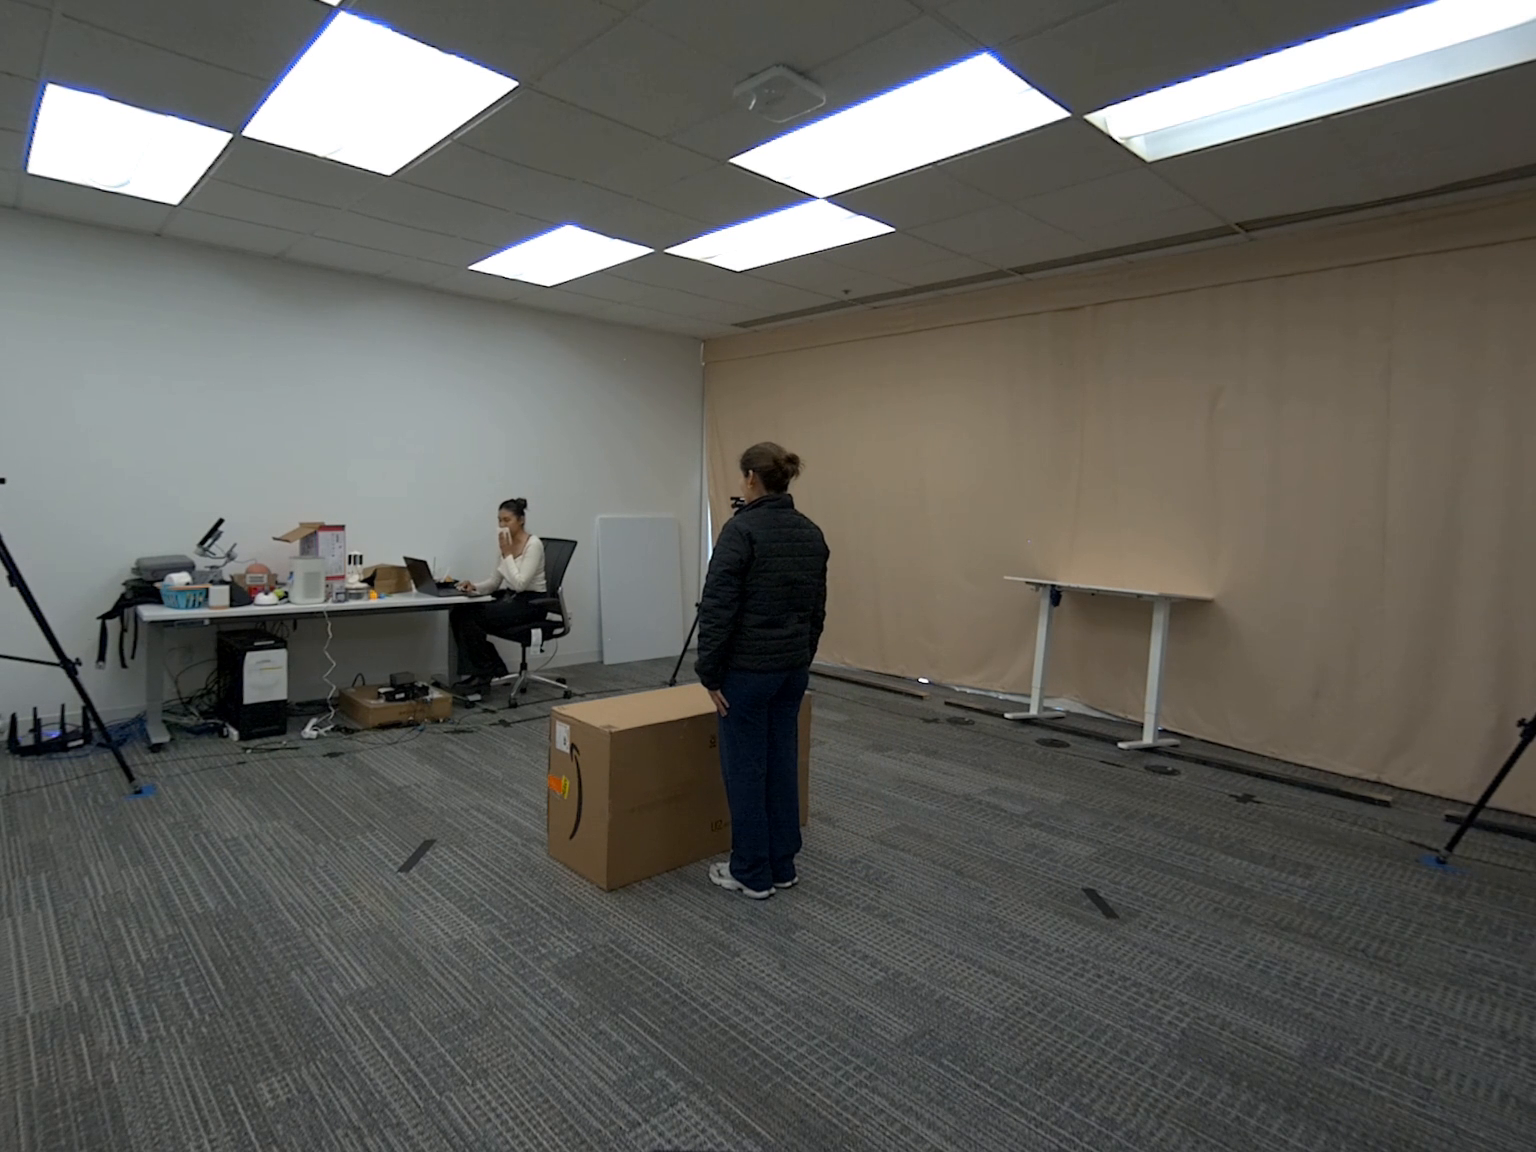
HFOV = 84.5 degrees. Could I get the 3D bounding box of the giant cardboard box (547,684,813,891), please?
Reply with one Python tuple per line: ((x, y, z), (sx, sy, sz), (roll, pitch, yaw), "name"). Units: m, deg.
((-0.343, 0.788, 3.420), (1.003, 0.582, 0.458), (-2, 7, -42), "giant cardboard box")
